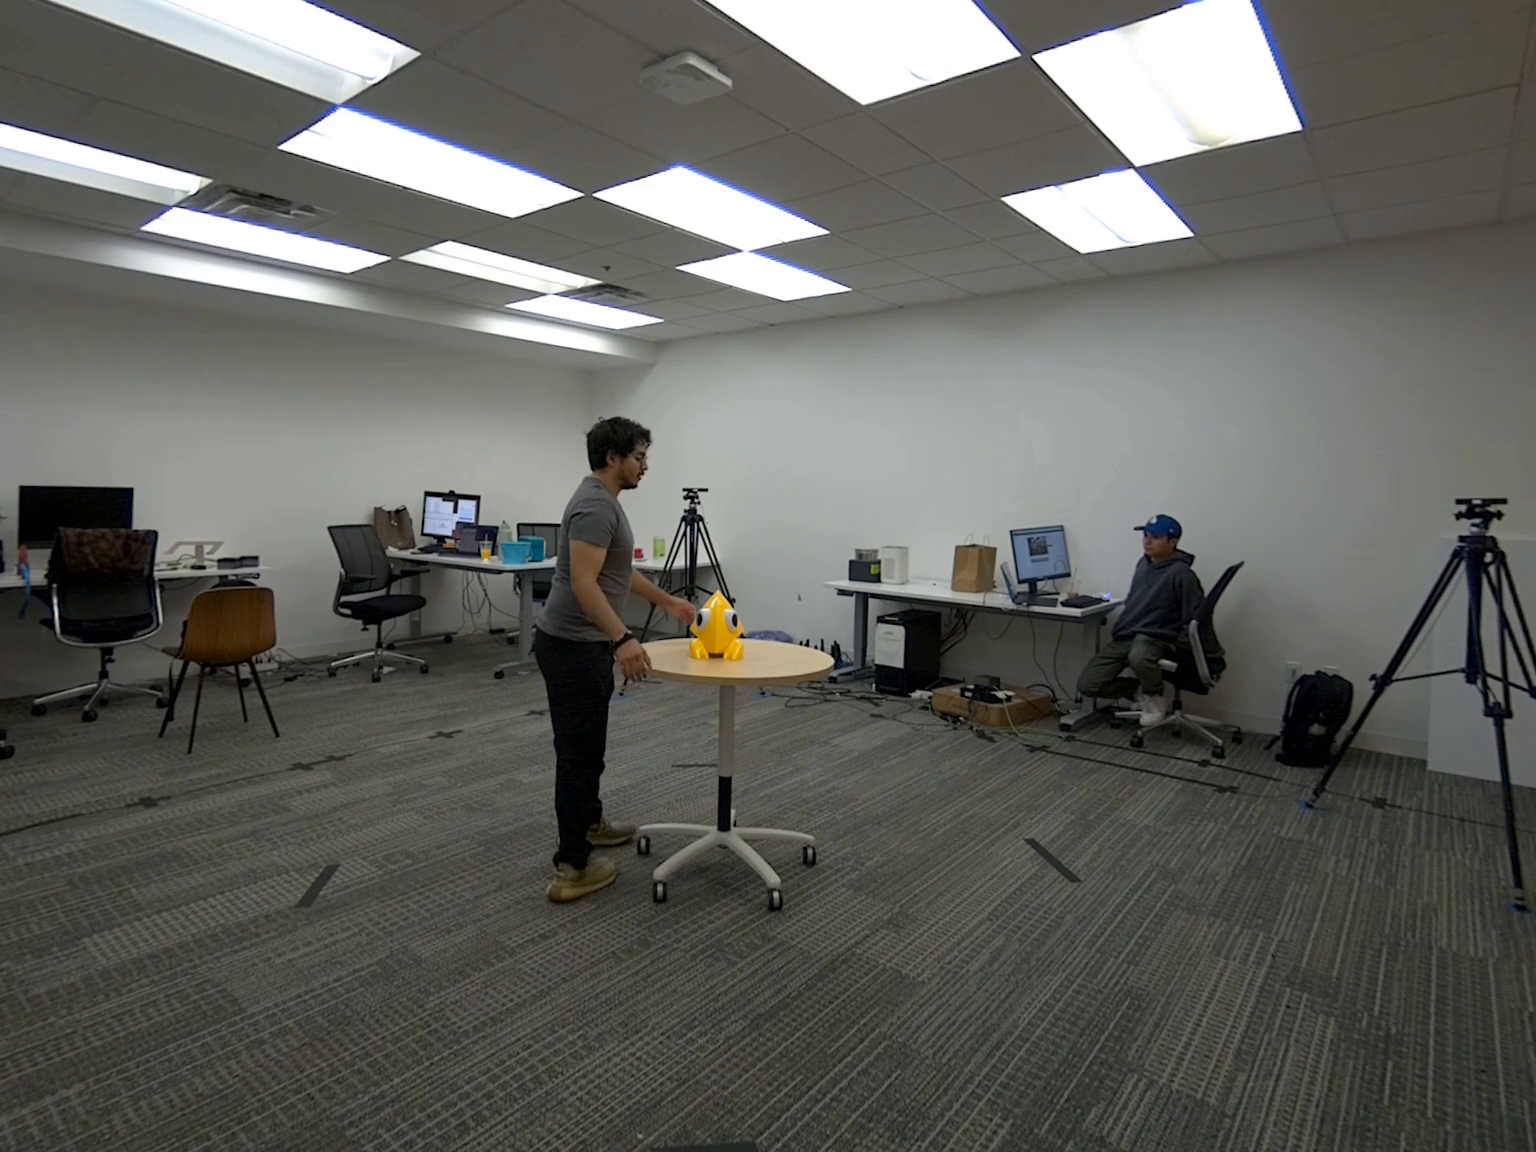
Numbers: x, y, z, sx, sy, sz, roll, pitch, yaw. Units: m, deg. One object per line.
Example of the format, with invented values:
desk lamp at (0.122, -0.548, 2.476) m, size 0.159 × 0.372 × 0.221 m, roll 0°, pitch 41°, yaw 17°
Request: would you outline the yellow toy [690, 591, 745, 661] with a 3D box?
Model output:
yellow toy at (-0.193, 0.173, 3.096) m, size 0.204 × 0.230 × 0.194 m, roll 1°, pitch 4°, yaw -2°
